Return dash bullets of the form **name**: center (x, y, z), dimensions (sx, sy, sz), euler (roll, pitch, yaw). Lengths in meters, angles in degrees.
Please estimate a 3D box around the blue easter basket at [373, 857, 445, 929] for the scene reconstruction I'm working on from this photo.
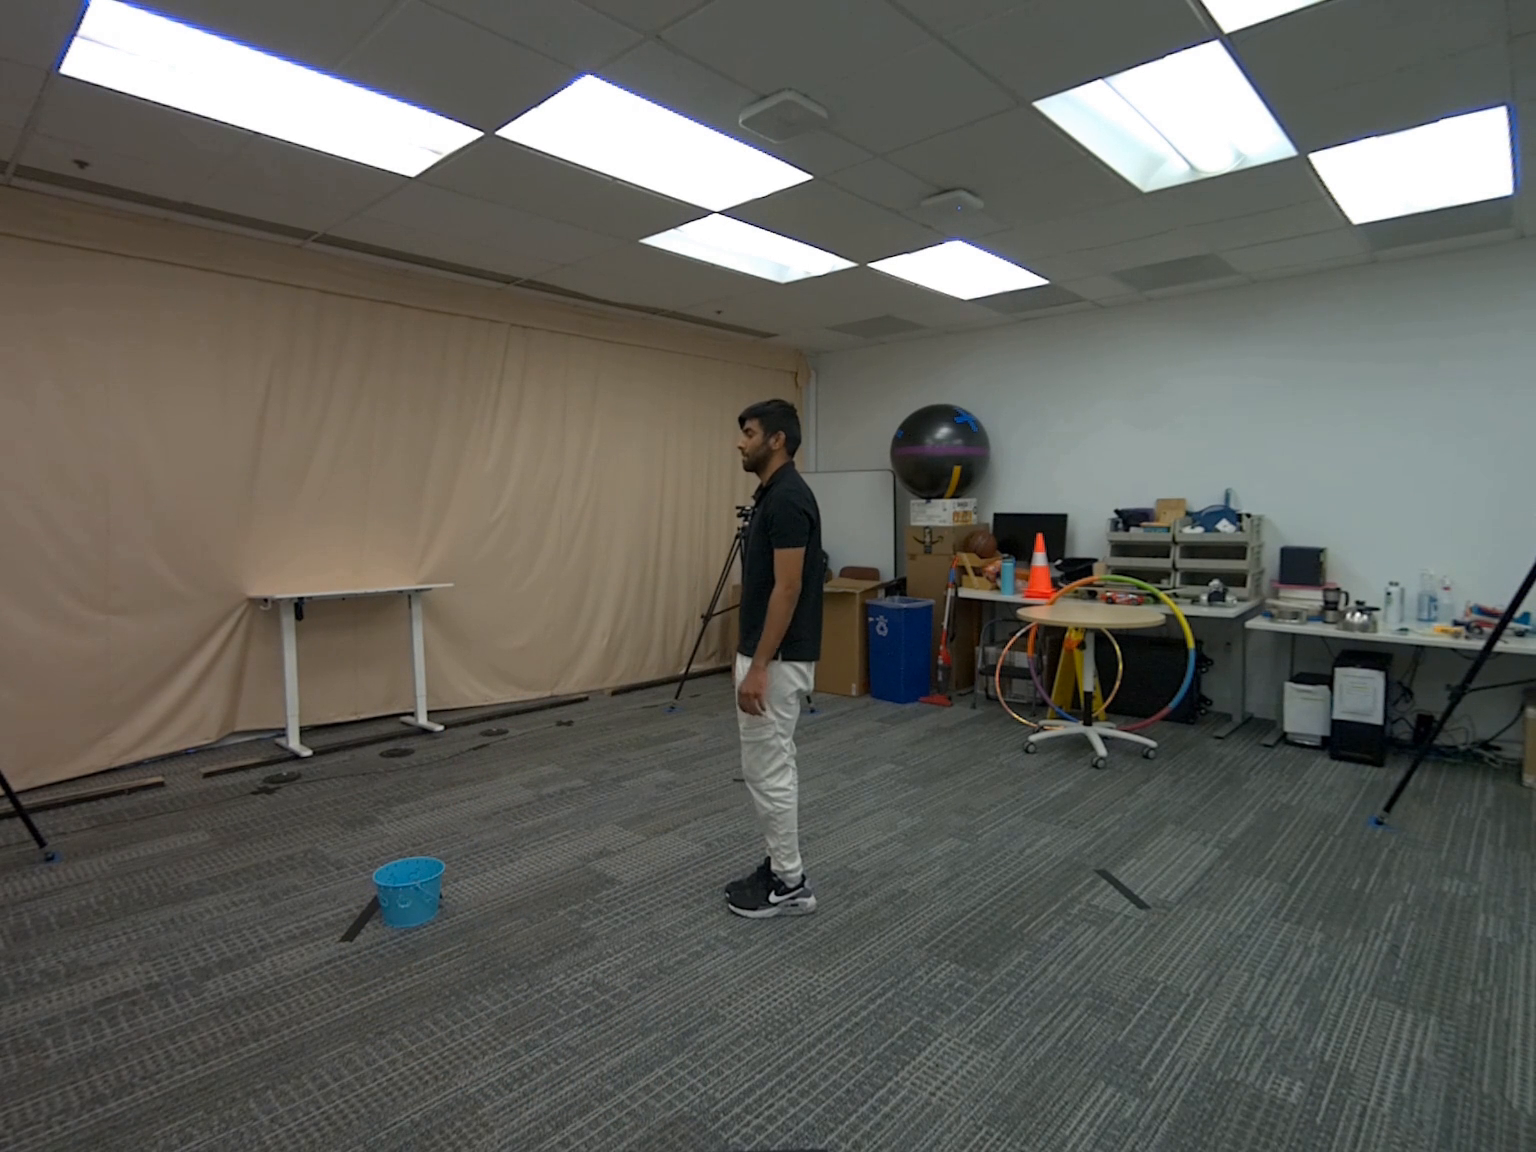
- **blue easter basket**: center (-1.225, 1.088, 2.886), dimensions (0.243, 0.155, 0.244), euler (0, 4, -2)
